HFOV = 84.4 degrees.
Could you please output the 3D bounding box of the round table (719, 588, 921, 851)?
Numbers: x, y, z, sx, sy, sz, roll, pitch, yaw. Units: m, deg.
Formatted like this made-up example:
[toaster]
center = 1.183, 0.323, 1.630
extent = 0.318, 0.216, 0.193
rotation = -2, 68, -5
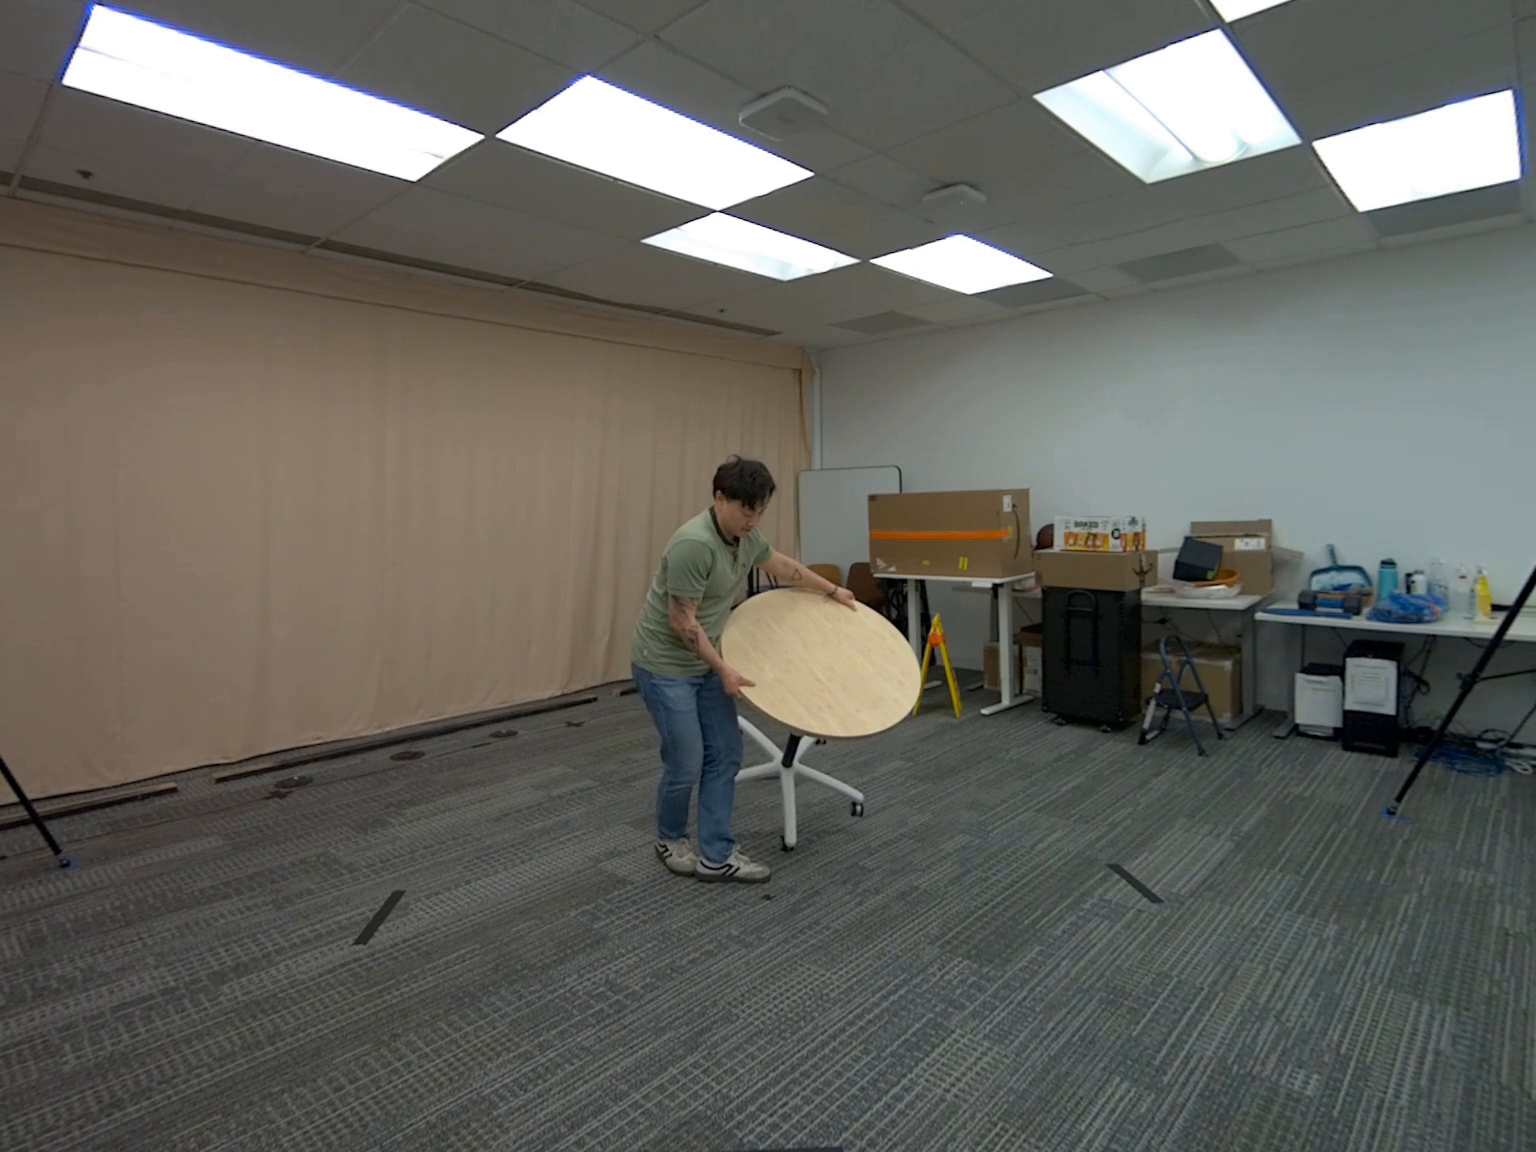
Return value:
[round table]
center = 0.133, 0.596, 3.414
extent = 0.758, 0.785, 0.778
rotation = 7, 38, -7
